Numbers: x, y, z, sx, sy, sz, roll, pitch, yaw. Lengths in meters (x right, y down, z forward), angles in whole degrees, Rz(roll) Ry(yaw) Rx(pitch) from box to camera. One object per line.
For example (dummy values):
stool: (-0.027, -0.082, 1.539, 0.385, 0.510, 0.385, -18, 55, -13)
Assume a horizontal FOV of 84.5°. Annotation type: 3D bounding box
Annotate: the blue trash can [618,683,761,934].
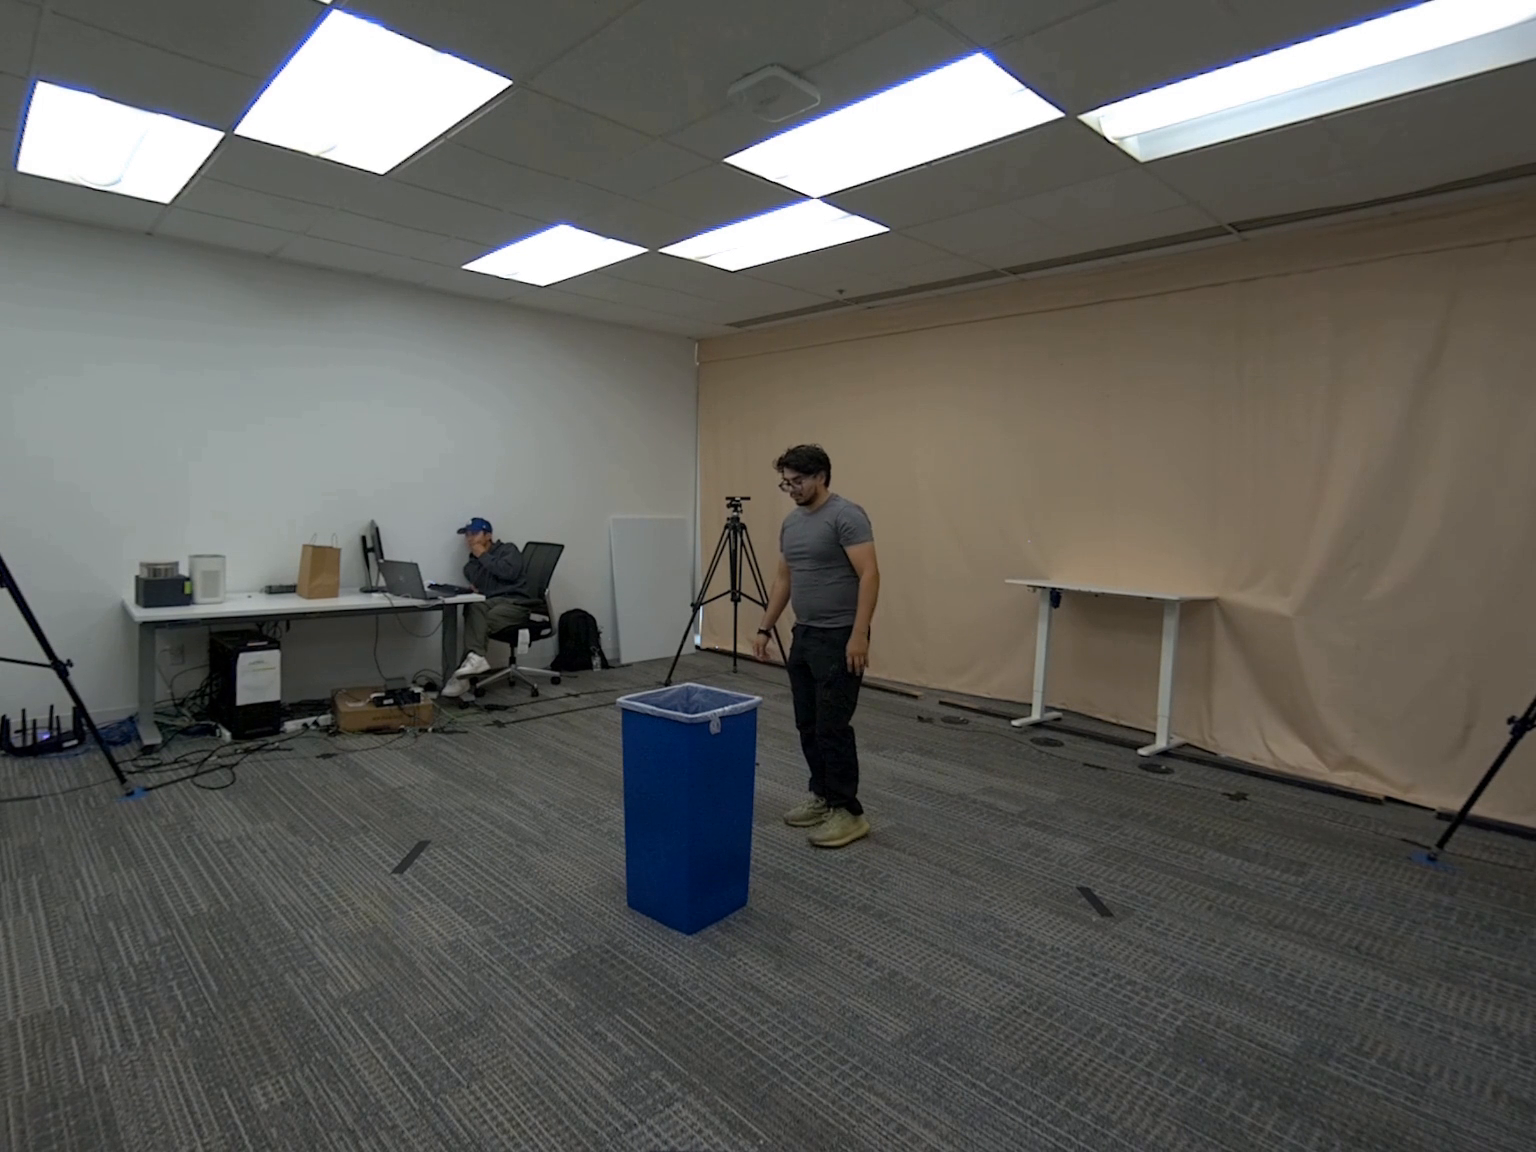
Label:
blue trash can: (-0.281, 0.768, 2.861, 0.383, 0.712, 0.369, 4, 4, 39)
